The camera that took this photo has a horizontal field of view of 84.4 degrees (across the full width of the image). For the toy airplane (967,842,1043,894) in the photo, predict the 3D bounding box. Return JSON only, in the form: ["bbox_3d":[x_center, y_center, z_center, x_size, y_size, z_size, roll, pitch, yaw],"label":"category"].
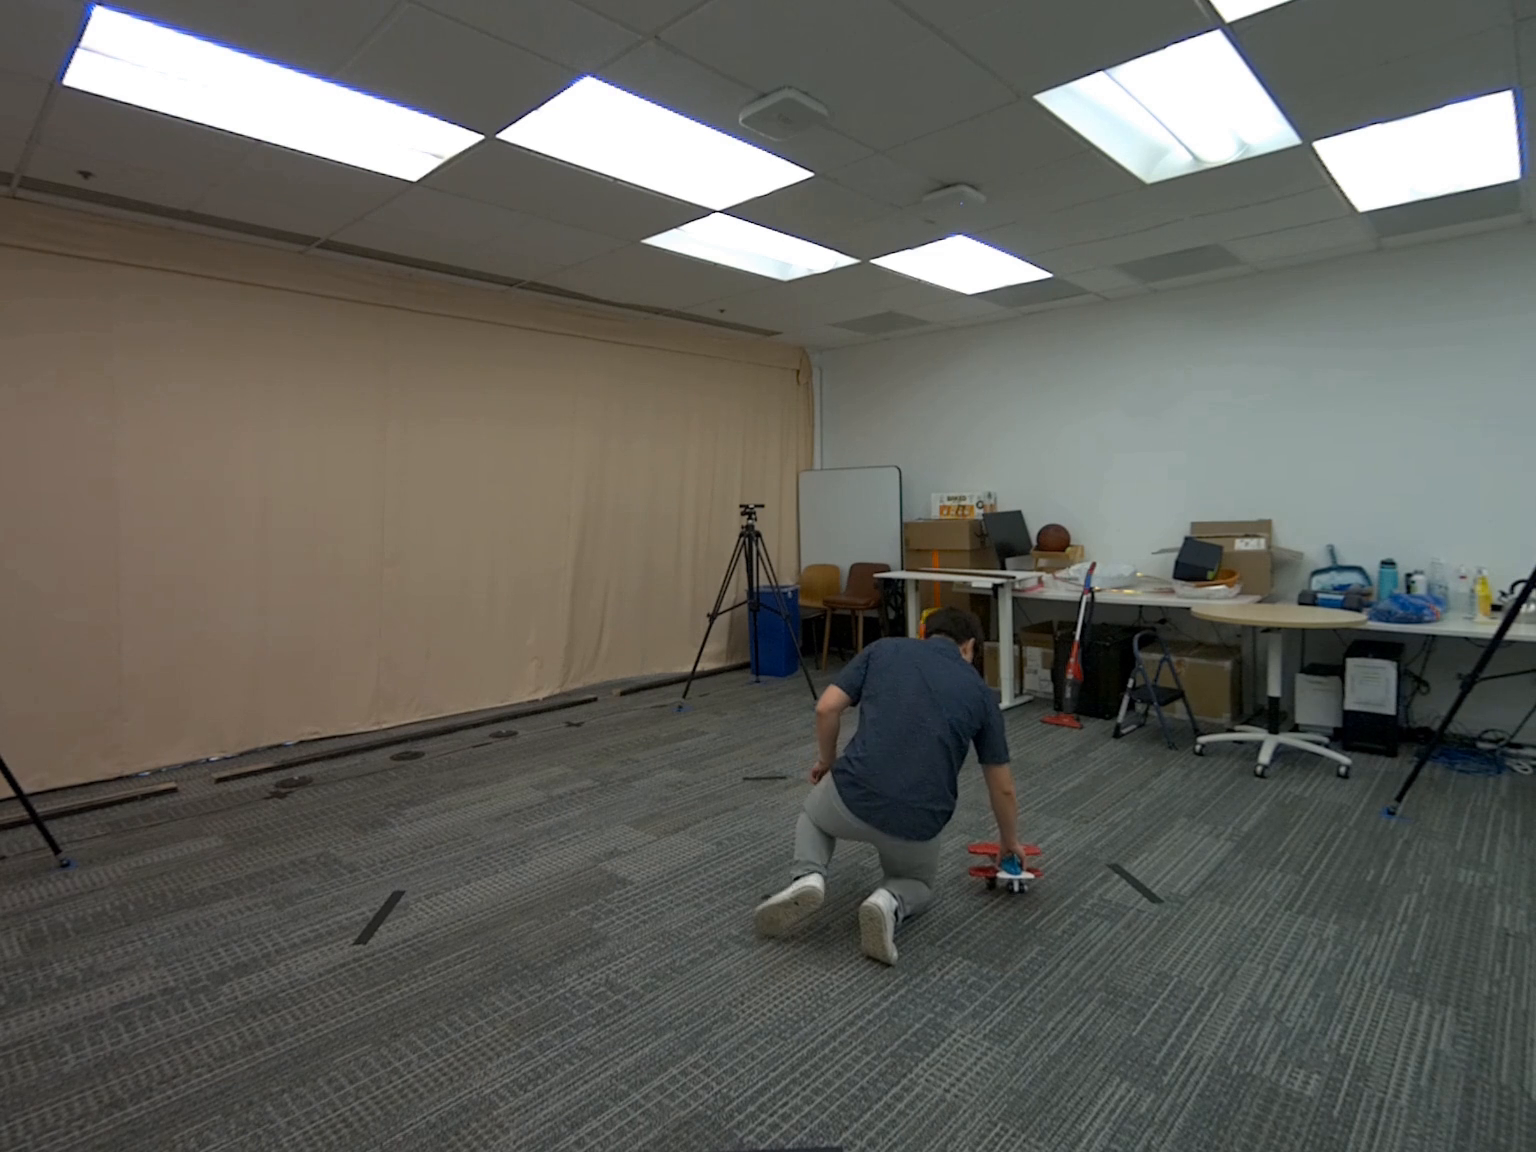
[{"bbox_3d":[0.864,1.033,2.952,0.245,0.158,0.263,8,-18,-23],"label":"toy airplane"}]
